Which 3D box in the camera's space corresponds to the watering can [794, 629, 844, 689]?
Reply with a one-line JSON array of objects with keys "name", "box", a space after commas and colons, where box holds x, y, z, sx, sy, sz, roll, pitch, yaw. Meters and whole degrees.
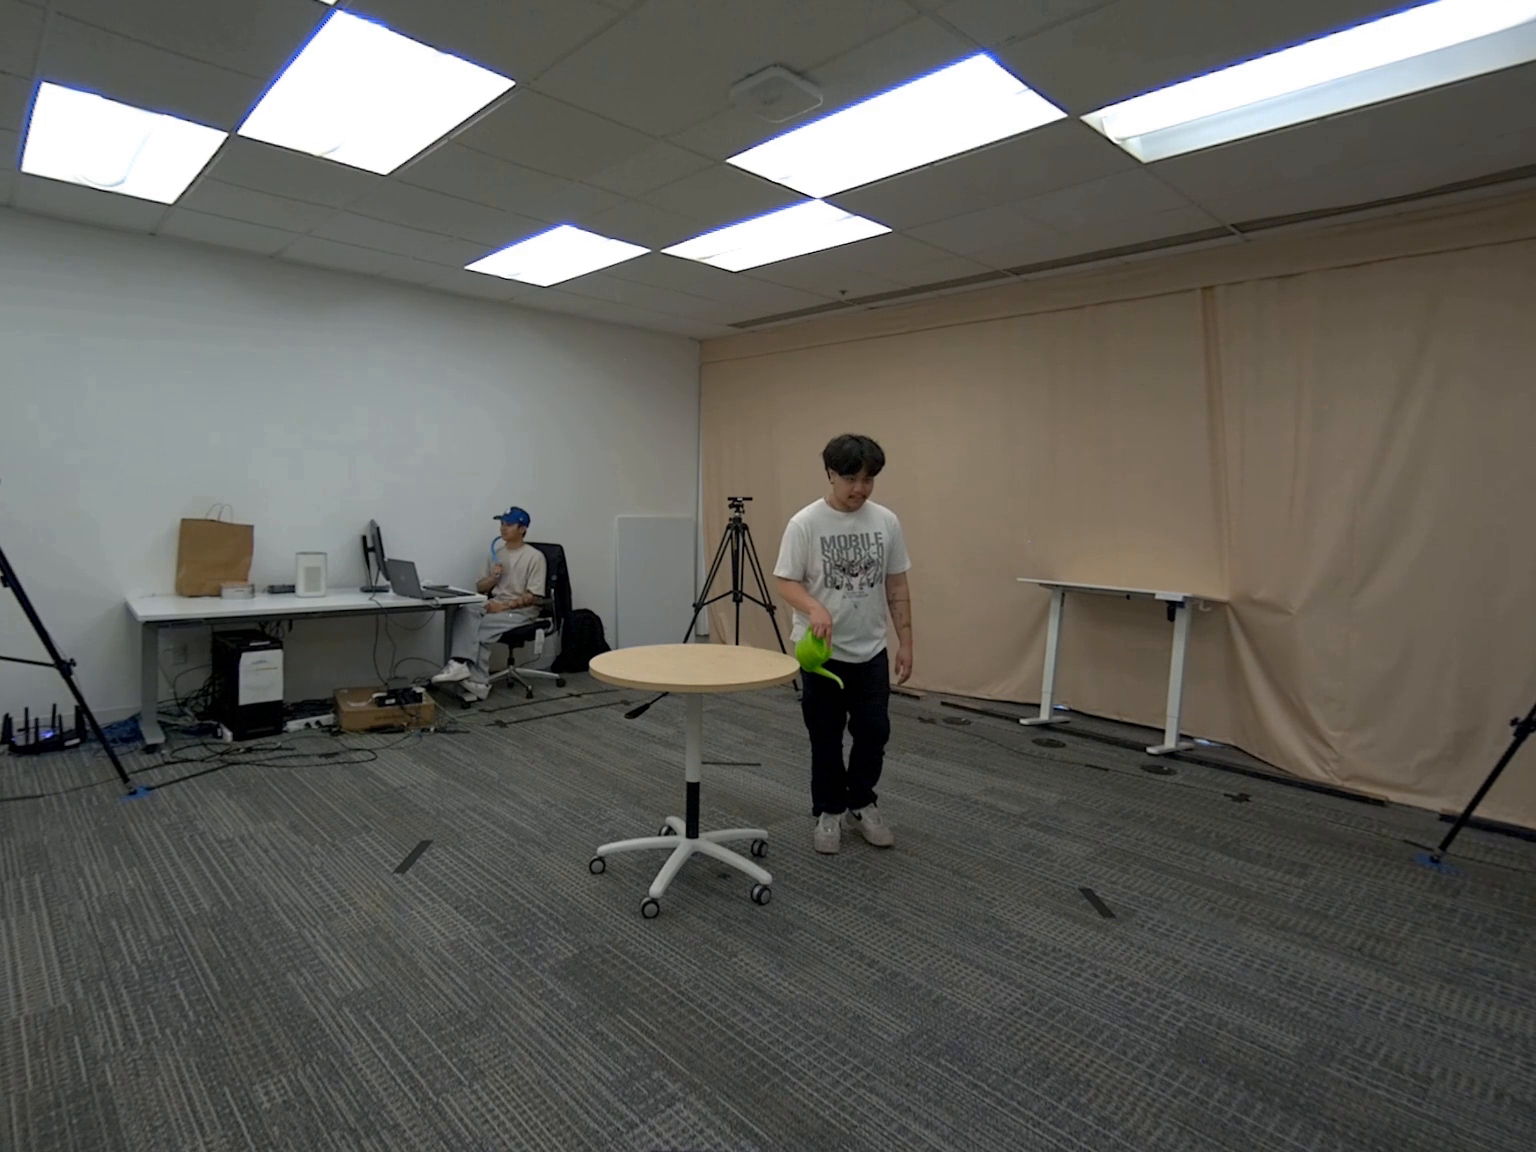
[{"name": "watering can", "box": [0.172, 0.310, 3.152, 0.096, 0.284, 0.176, 7, -33, -21]}]
